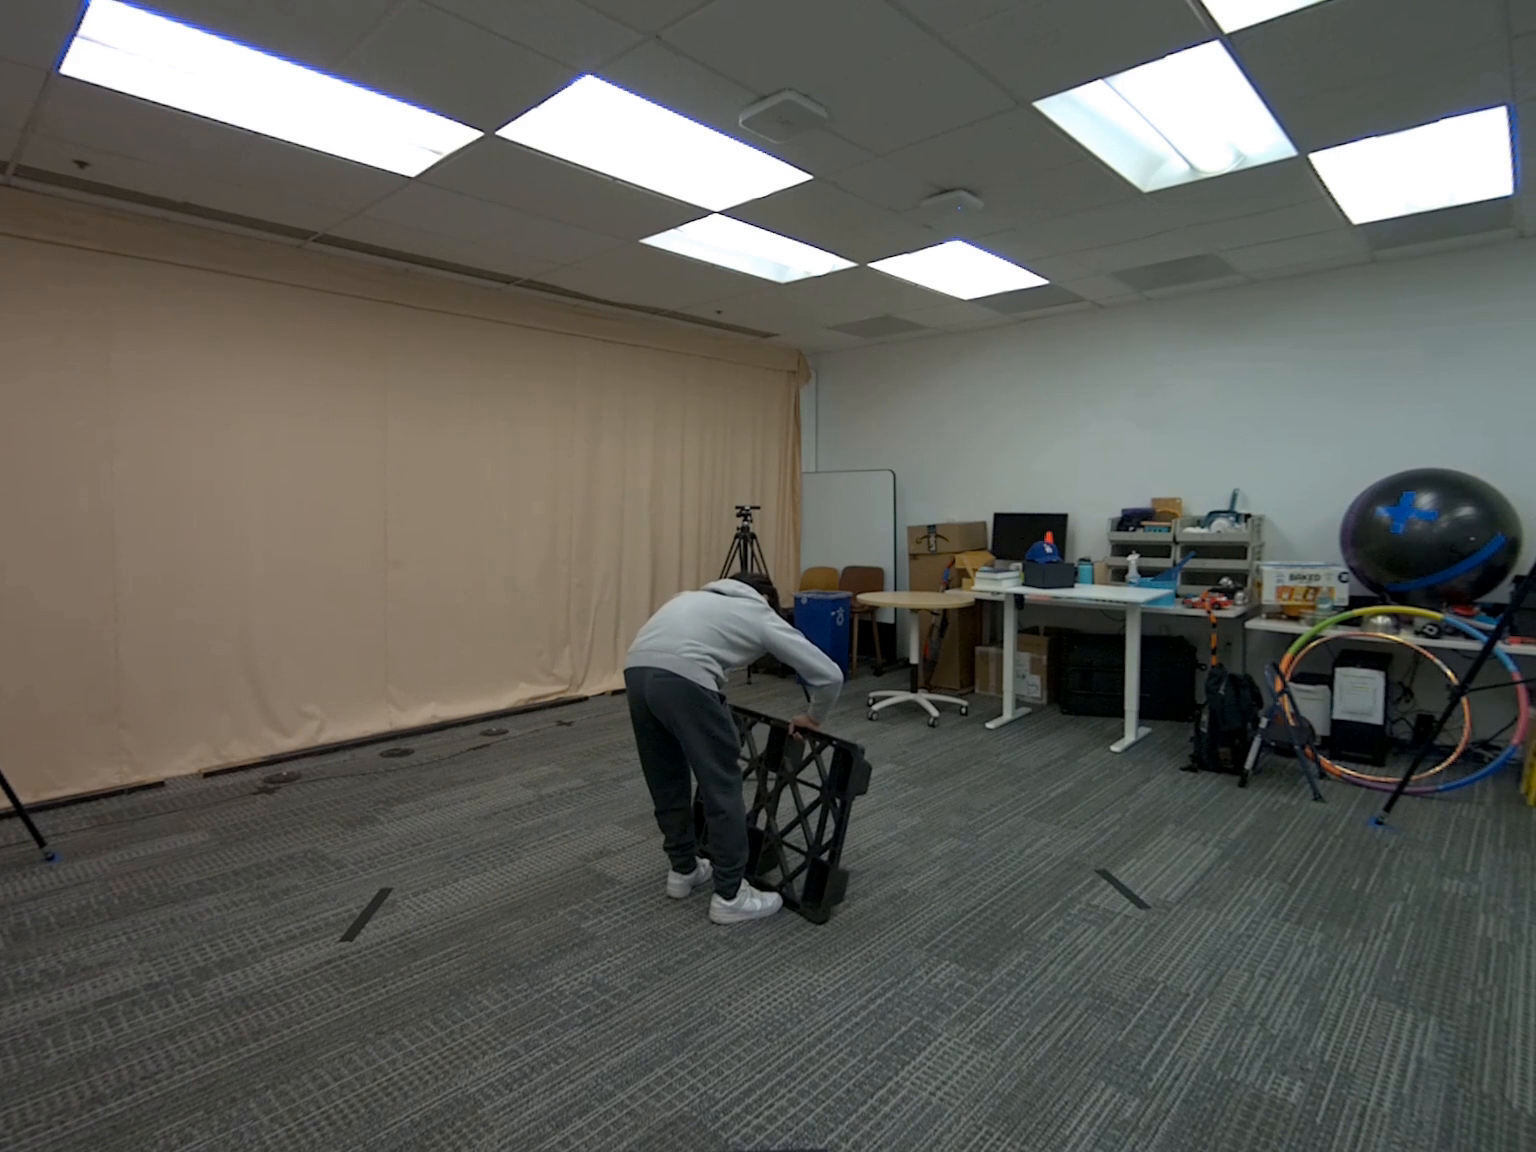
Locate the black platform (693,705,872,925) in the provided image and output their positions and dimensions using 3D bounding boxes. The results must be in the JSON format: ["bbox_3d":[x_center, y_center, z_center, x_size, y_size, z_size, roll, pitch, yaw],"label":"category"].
[{"bbox_3d":[0.040,0.845,3.170,0.138,0.606,0.832,17,-7,-38],"label":"black platform"}]
